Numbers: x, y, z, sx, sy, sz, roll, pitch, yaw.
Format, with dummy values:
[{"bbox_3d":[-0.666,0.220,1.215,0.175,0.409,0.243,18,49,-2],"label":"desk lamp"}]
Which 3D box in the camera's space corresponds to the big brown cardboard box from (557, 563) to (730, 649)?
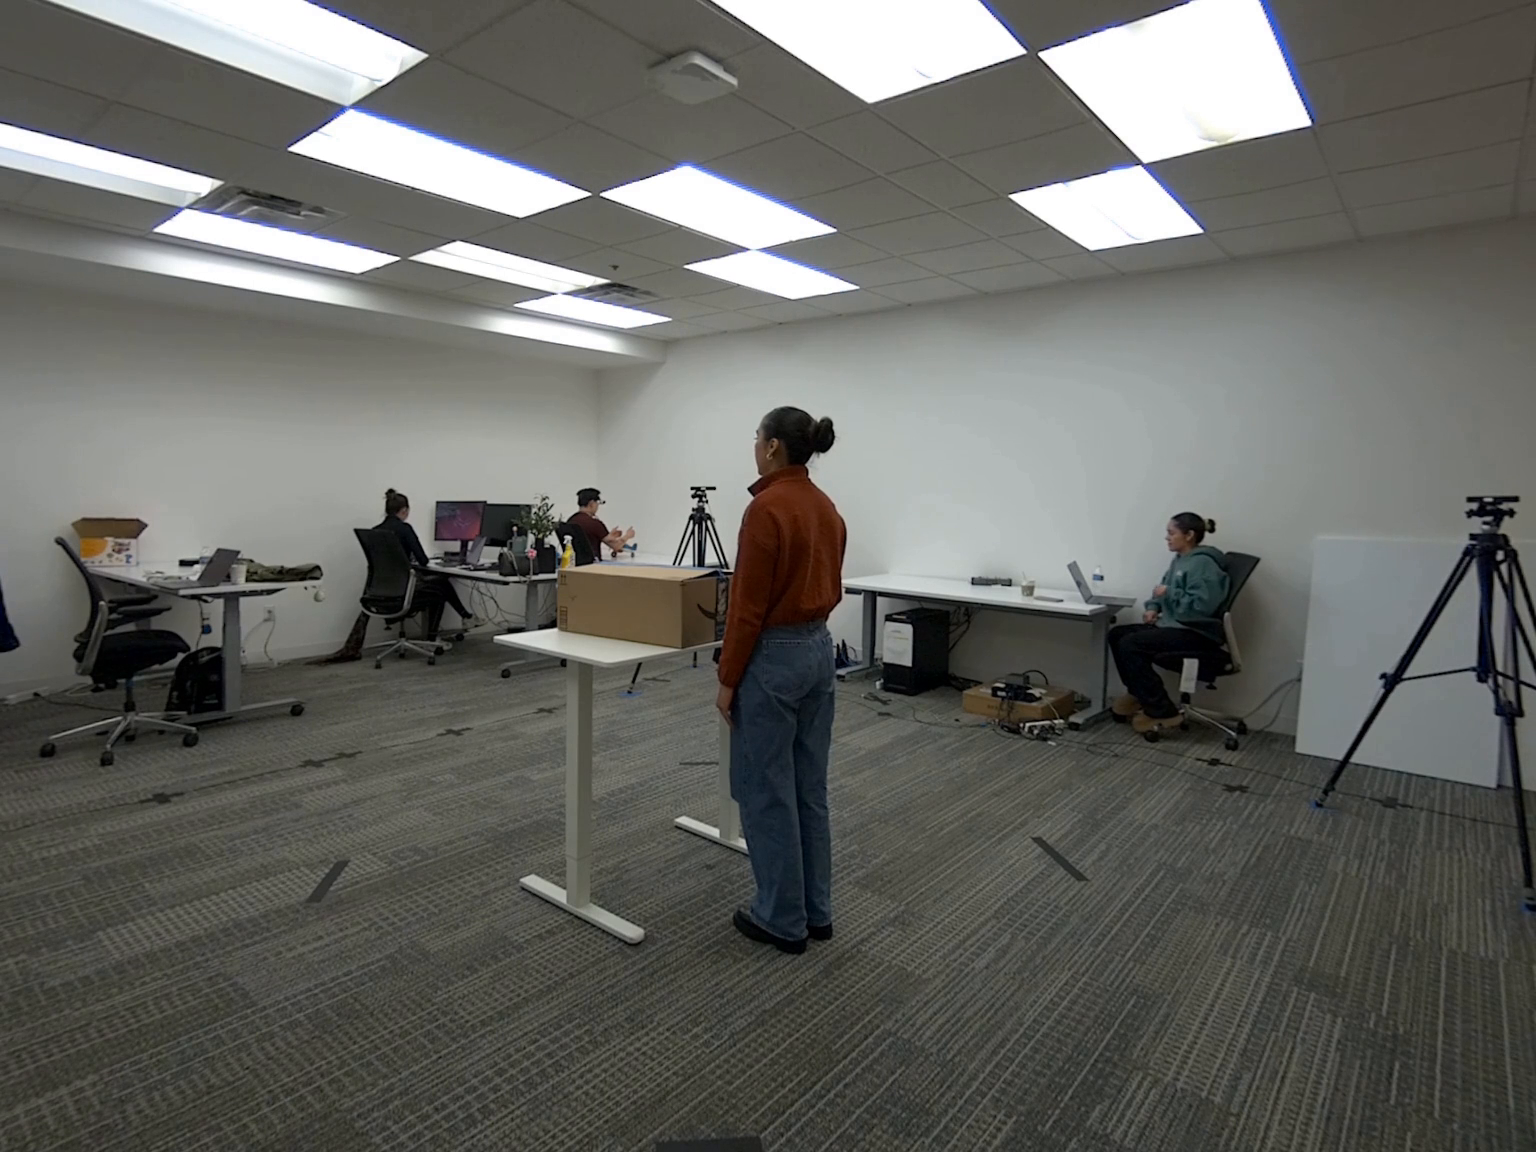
[{"bbox_3d":[-0.396,0.084,2.972,0.607,0.232,0.406,3,6,35],"label":"big brown cardboard box"}]
